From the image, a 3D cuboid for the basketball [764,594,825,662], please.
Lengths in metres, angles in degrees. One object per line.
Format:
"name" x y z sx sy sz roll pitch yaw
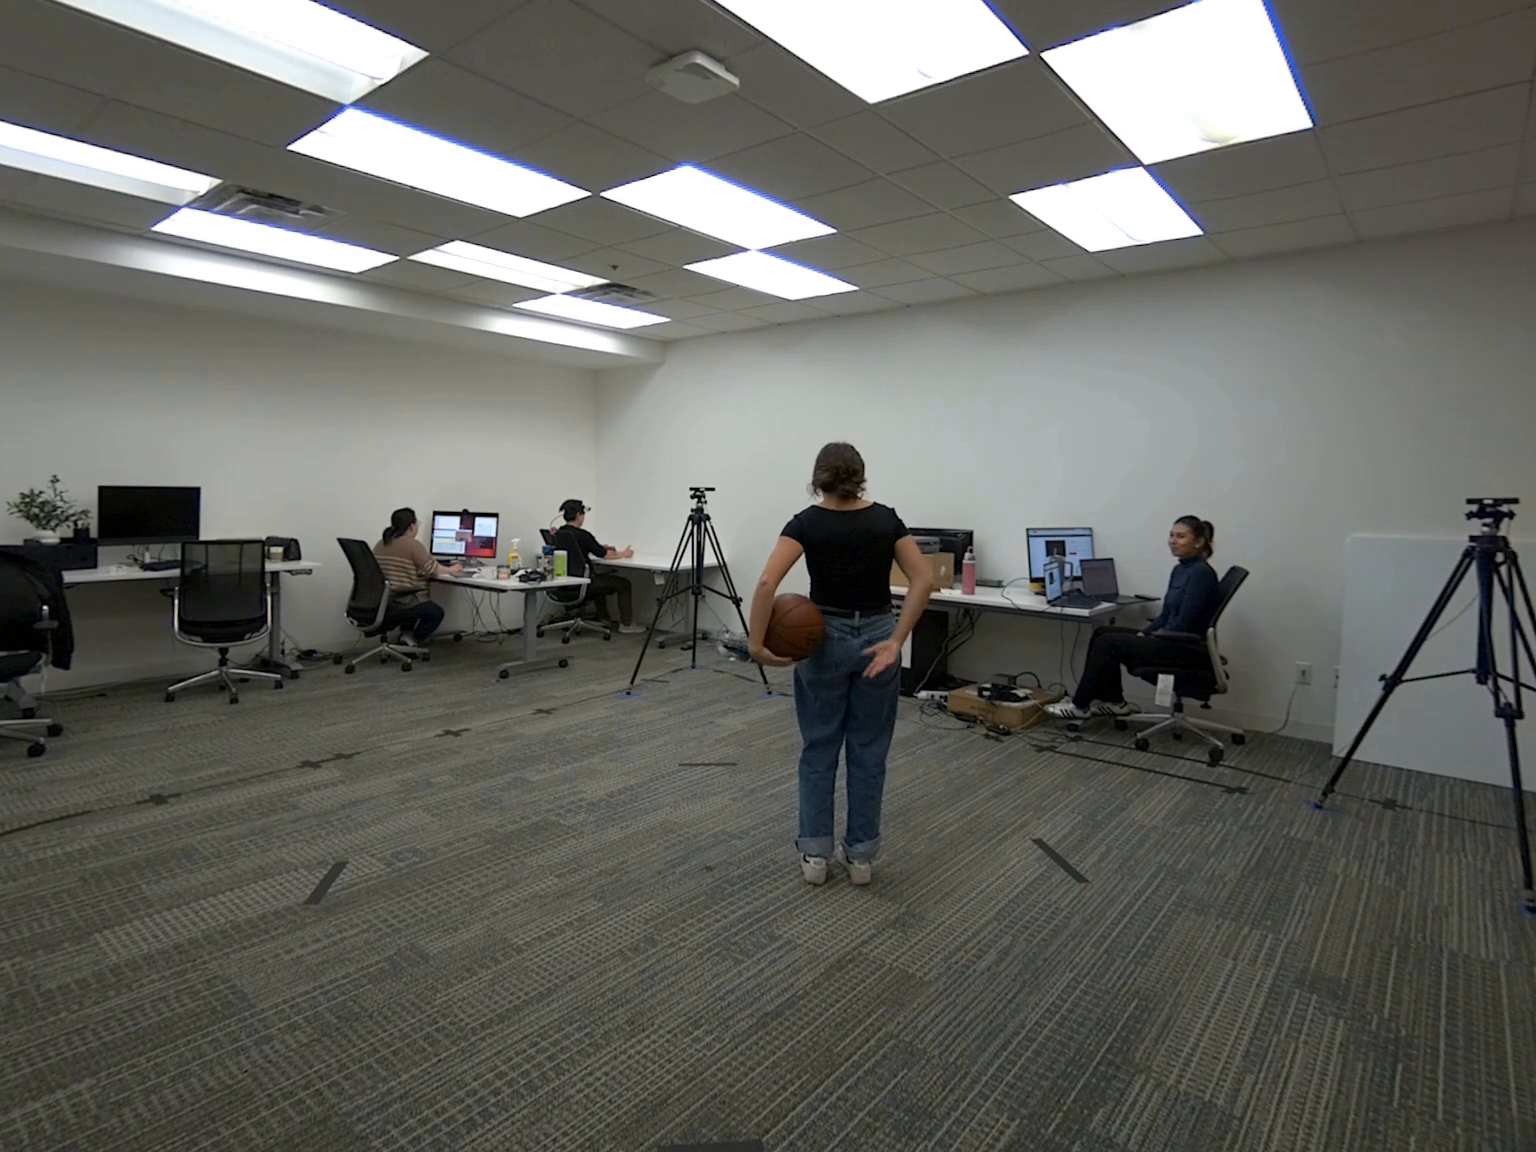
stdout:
"basketball" 0.075 0.171 2.953 0.235 0.235 0.237 1 4 -2
